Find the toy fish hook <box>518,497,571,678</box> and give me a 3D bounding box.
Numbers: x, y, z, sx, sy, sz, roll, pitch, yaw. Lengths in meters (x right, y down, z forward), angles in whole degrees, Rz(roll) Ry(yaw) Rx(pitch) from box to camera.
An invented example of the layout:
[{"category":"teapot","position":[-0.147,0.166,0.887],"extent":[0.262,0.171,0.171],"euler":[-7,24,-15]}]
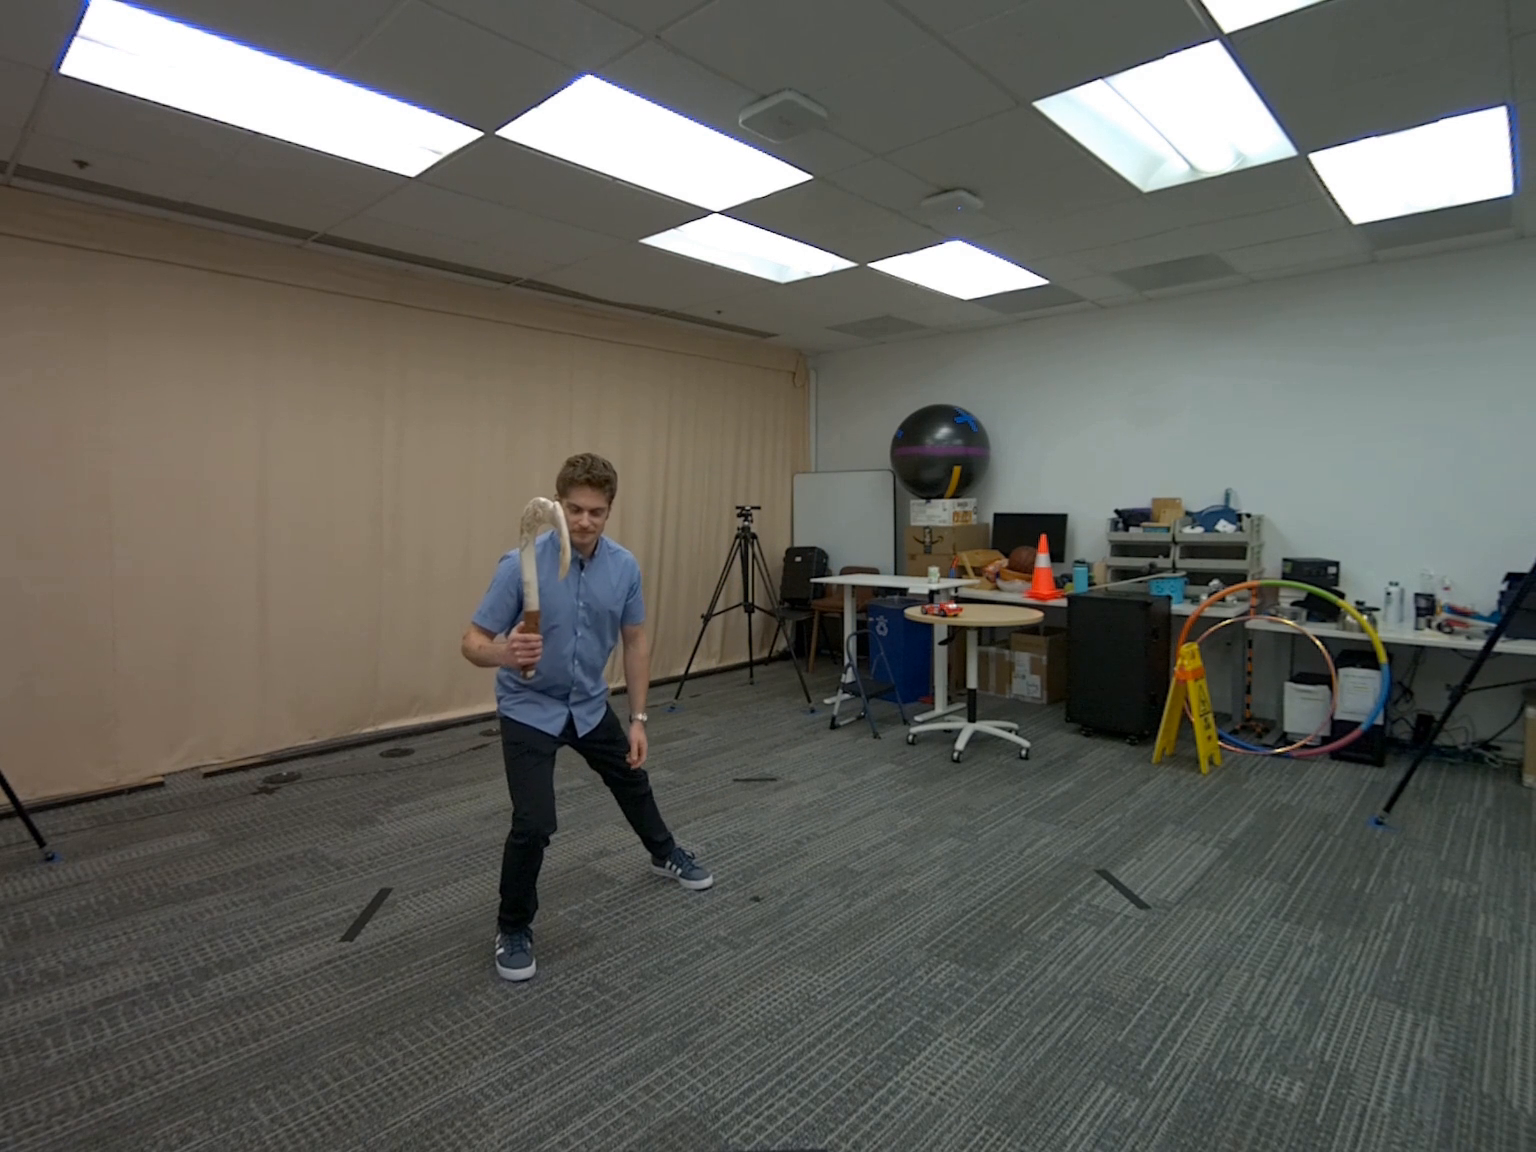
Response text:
[{"category":"toy fish hook","position":[-0.596,0.045,2.232],"extent":[0.047,0.503,0.233],"euler":[-4,17,-42]}]
